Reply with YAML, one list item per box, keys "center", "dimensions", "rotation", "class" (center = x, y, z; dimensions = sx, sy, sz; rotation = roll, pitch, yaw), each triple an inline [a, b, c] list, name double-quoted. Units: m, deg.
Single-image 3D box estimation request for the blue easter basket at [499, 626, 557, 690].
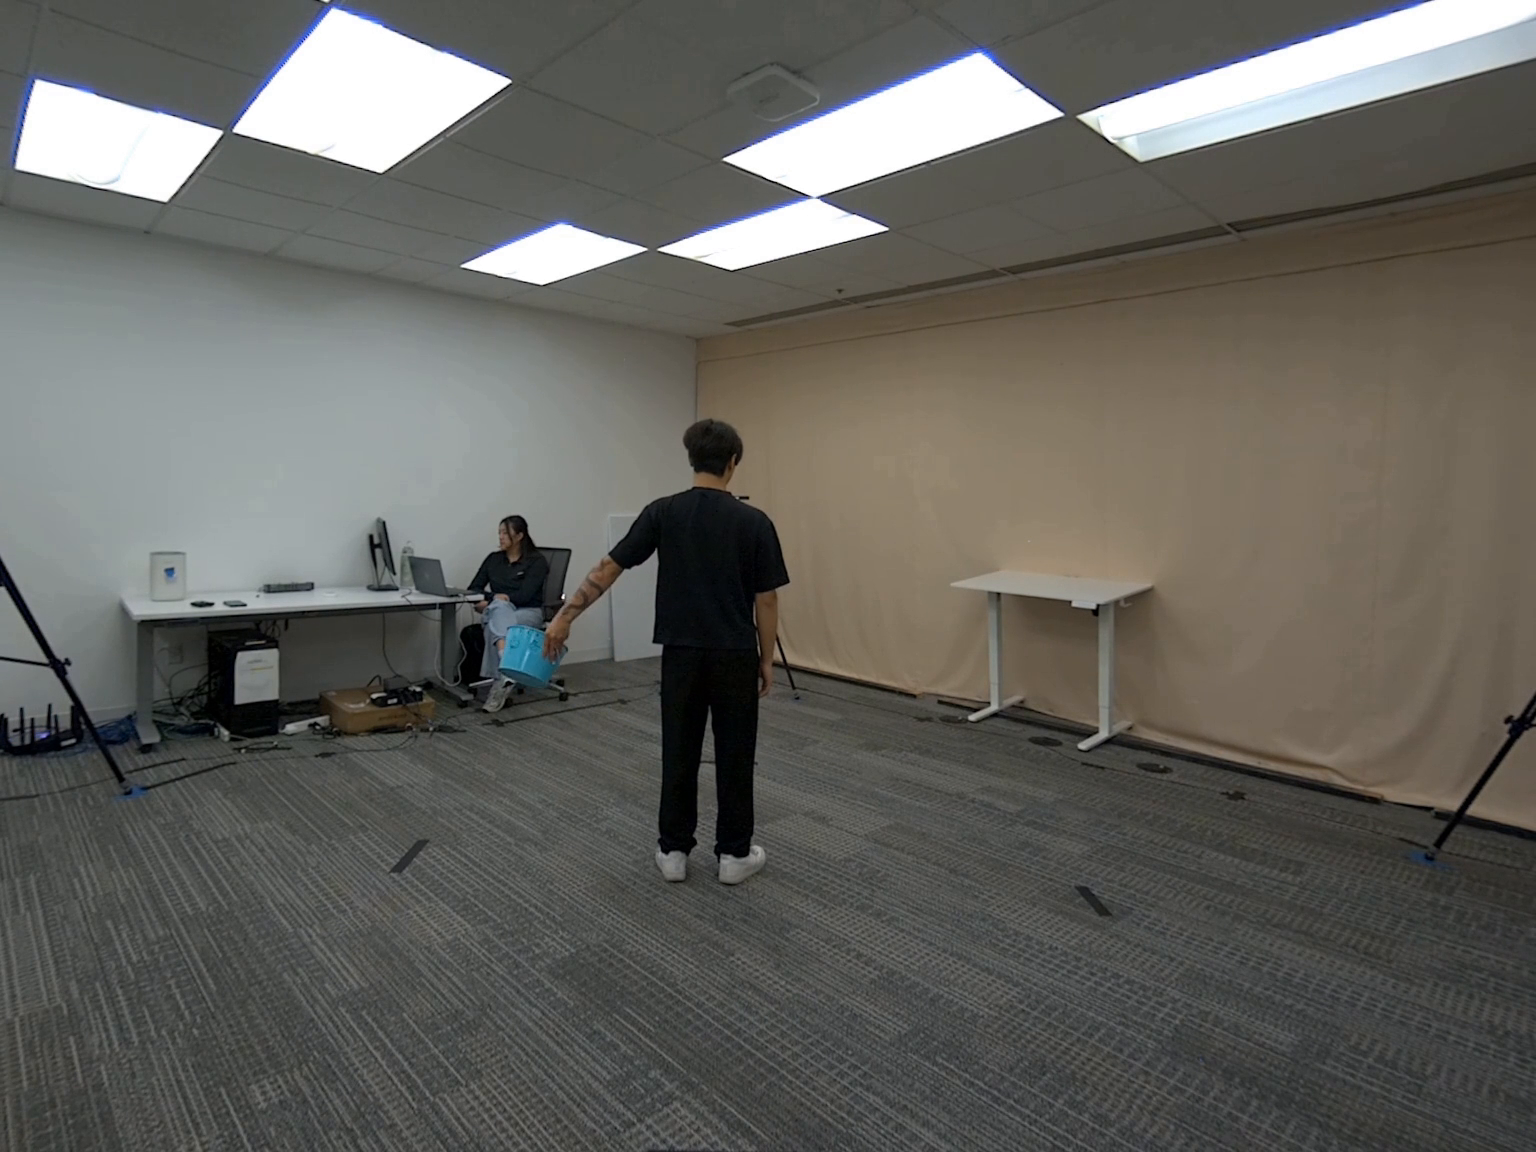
- center: [-0.848, 0.300, 3.044]
  dimensions: [0.245, 0.157, 0.239]
  rotation: [15, -25, 6]
  class: "blue easter basket"
